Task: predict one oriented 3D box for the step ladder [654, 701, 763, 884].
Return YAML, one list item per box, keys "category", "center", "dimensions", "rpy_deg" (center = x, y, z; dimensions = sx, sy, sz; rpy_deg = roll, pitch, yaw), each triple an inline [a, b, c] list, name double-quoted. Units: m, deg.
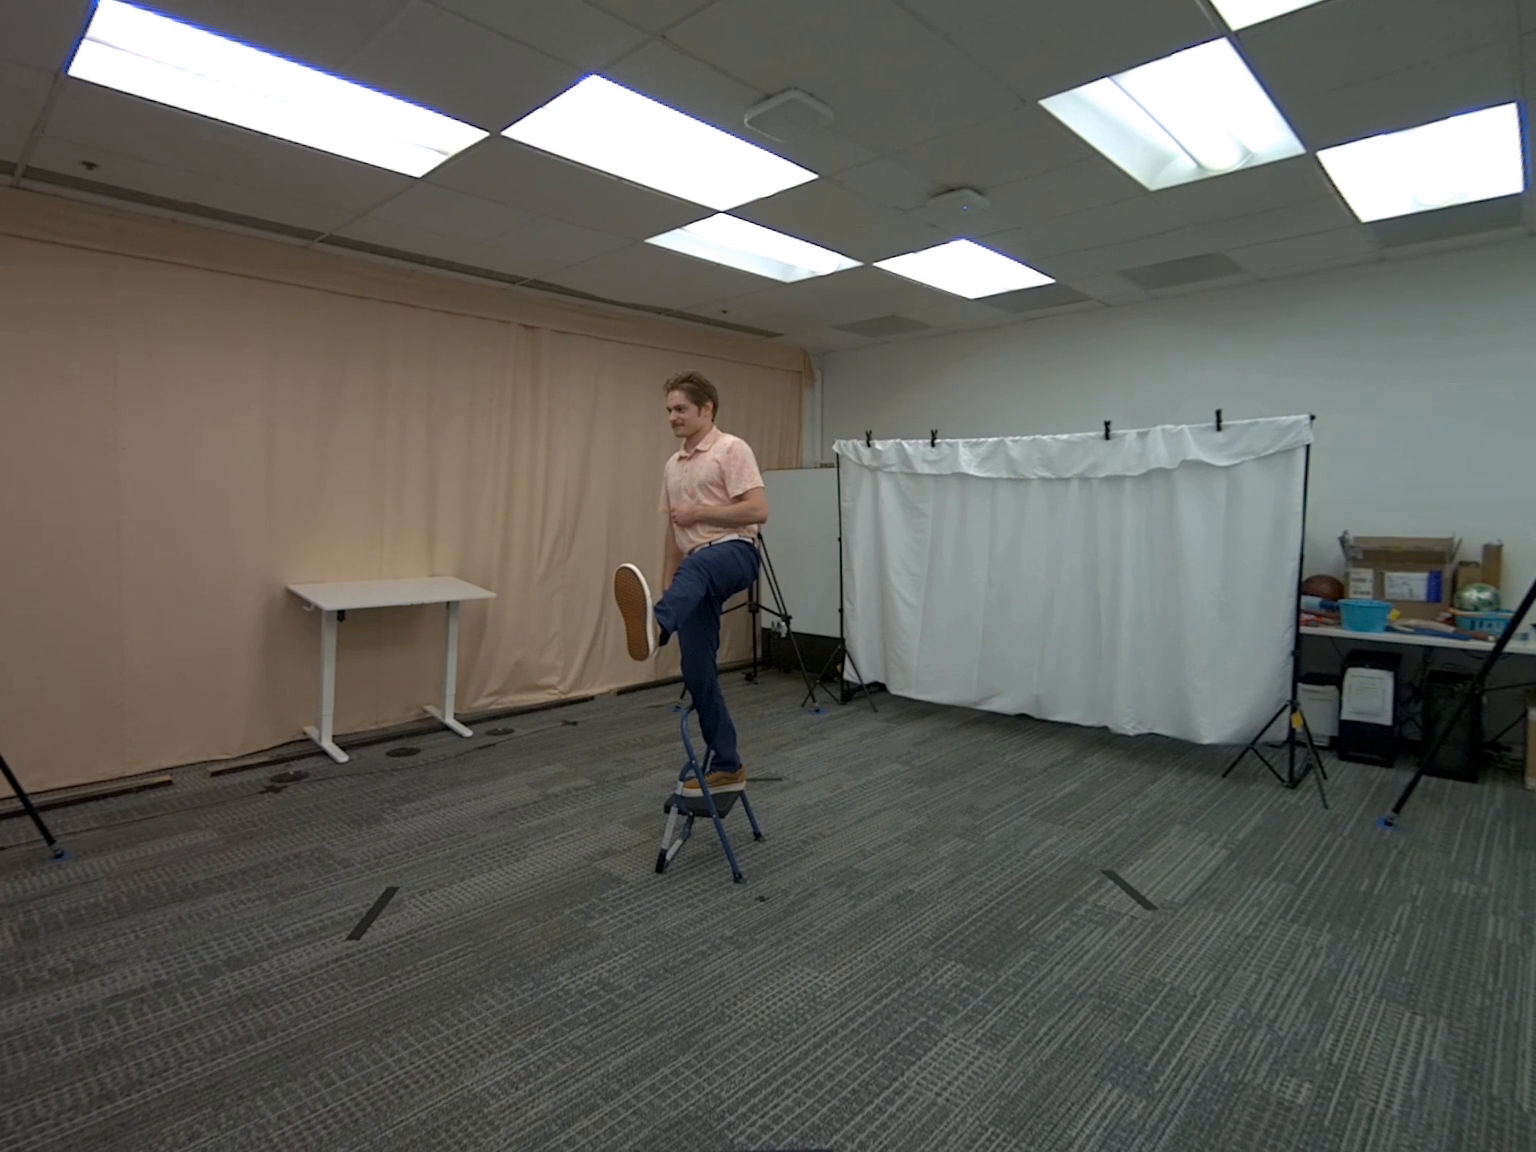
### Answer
- category: "step ladder"
  center: [-0.224, 0.815, 3.338]
  dimensions: [0.354, 0.605, 0.426]
  rpy_deg: [0, 3, 11]
